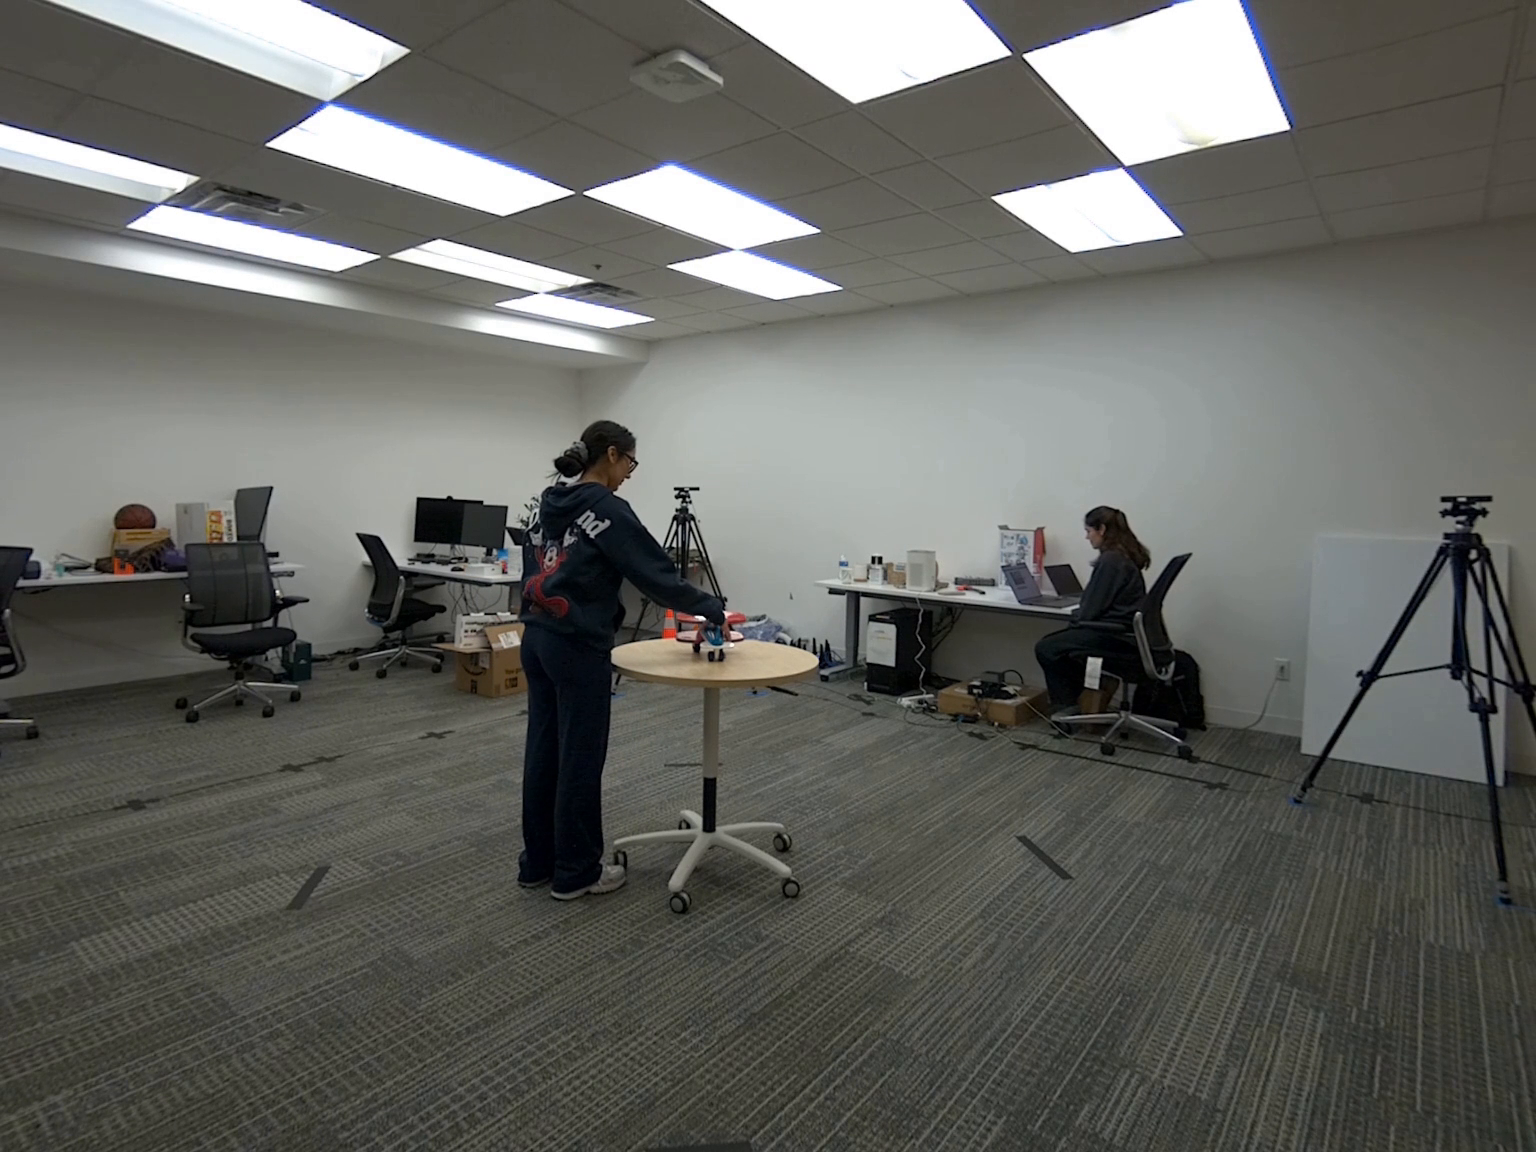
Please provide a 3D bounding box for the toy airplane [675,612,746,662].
[{"bbox_3d":[-0.201,0.216,3.079,0.243,0.156,0.268,-1,5,-37],"label":"toy airplane"}]
